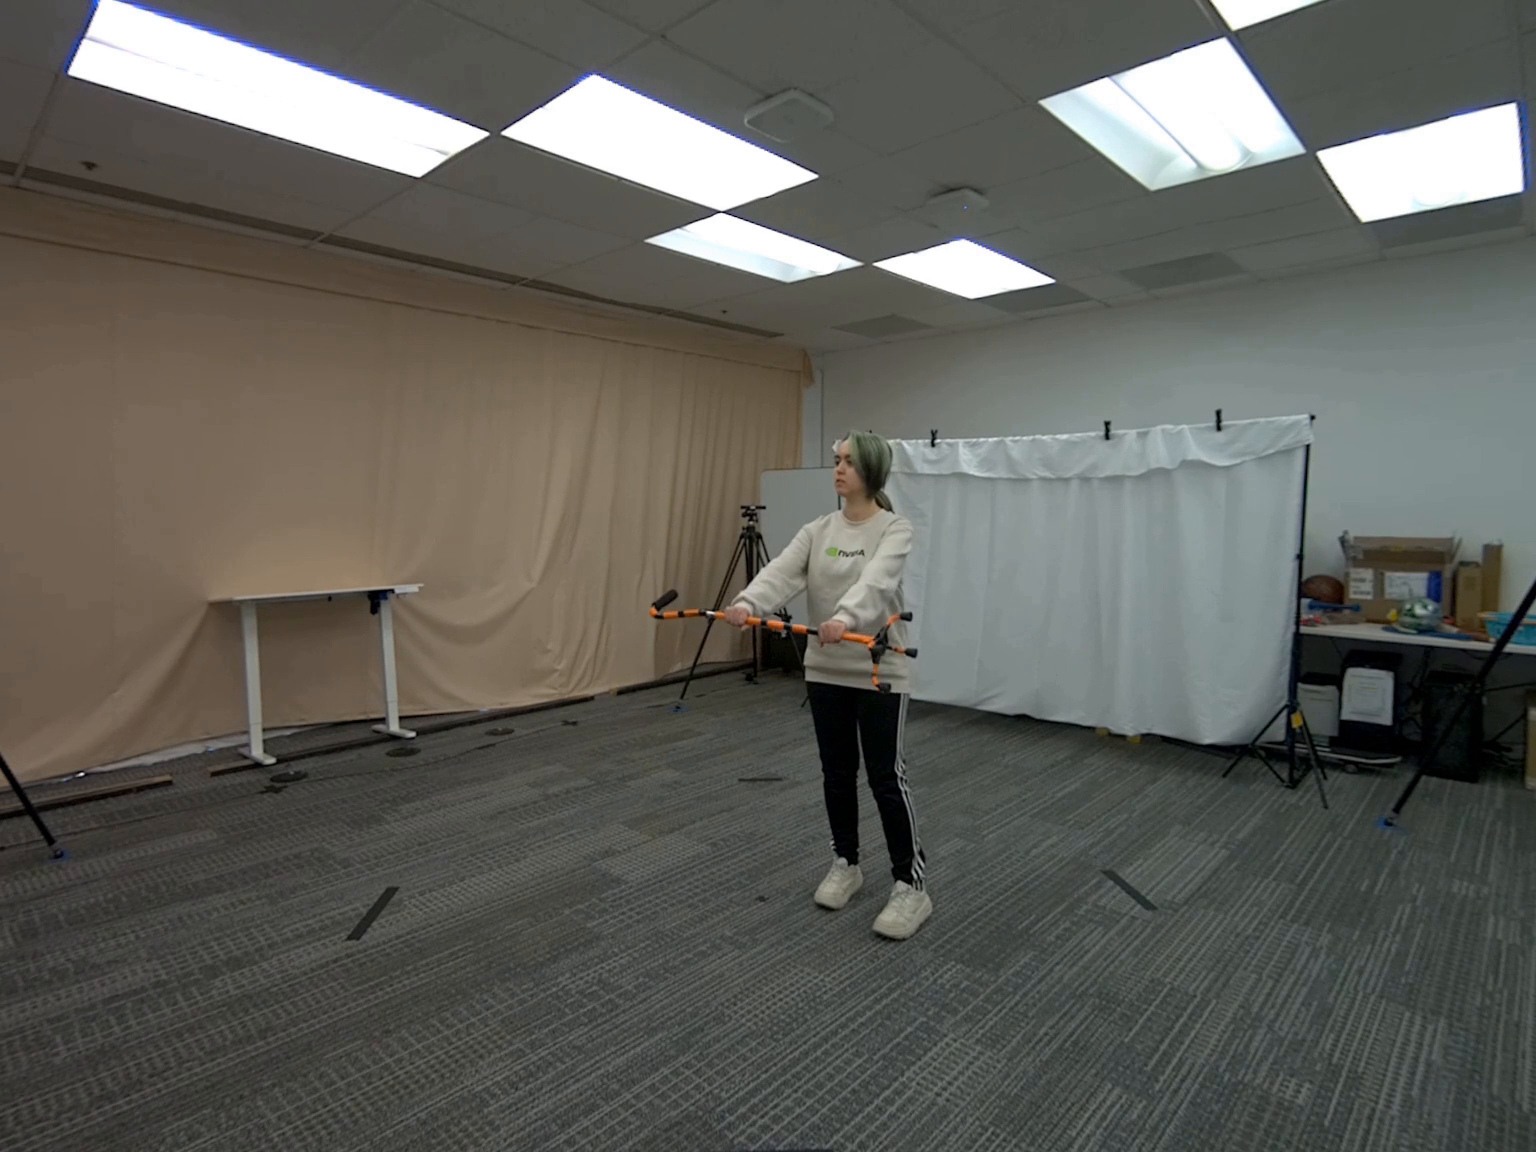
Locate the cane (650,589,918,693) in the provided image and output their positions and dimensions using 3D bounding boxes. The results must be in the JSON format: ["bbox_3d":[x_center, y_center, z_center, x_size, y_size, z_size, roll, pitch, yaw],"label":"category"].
[{"bbox_3d":[-0.013,0.150,2.609,0.938,0.149,0.203,7,27,38],"label":"cane"}]
